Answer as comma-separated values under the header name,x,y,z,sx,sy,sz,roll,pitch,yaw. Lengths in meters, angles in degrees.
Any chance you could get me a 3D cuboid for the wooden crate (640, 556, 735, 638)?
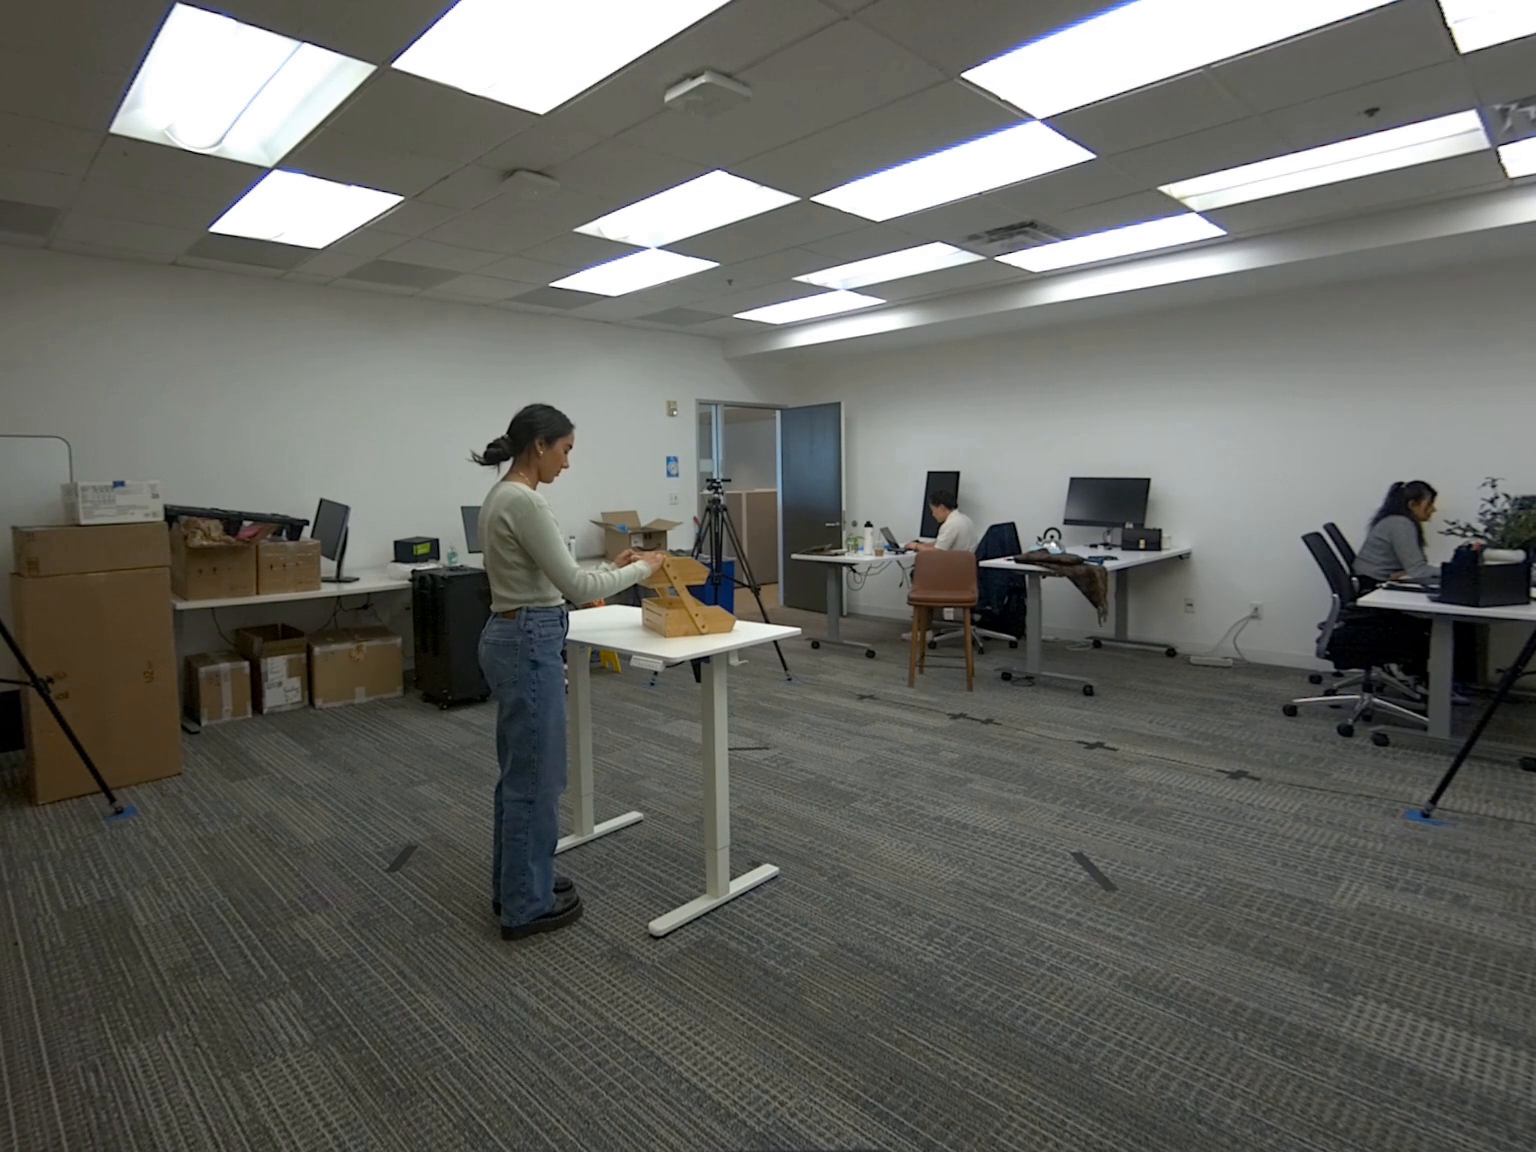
name,x,y,z,sx,sy,sz,roll,pitch,yaw
wooden crate,-0.306,0.050,2.948,0.297,0.272,0.331,-4,5,-21
